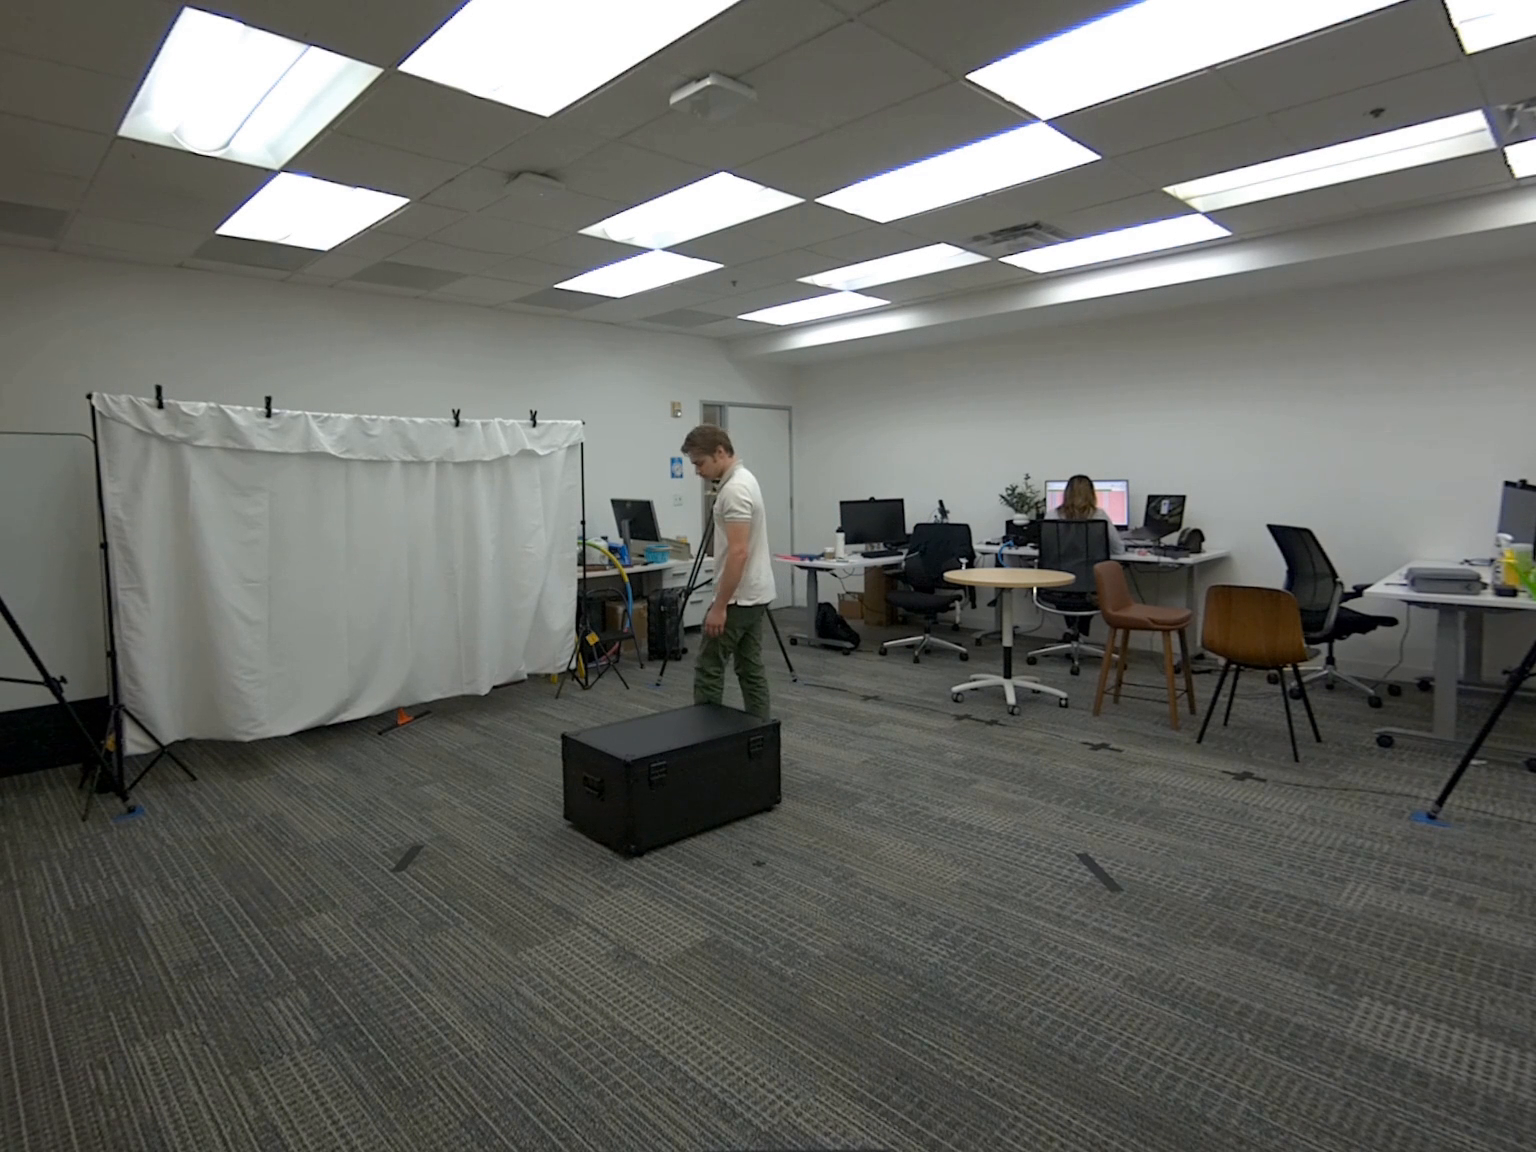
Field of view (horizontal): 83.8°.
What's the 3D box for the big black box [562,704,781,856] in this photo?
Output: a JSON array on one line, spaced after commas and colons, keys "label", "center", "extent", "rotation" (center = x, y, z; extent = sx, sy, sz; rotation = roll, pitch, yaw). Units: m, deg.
[{"label": "big black box", "center": [-0.371, 0.811, 3.575], "extent": [0.839, 0.394, 0.537], "rotation": [-7, 8, -42]}]
